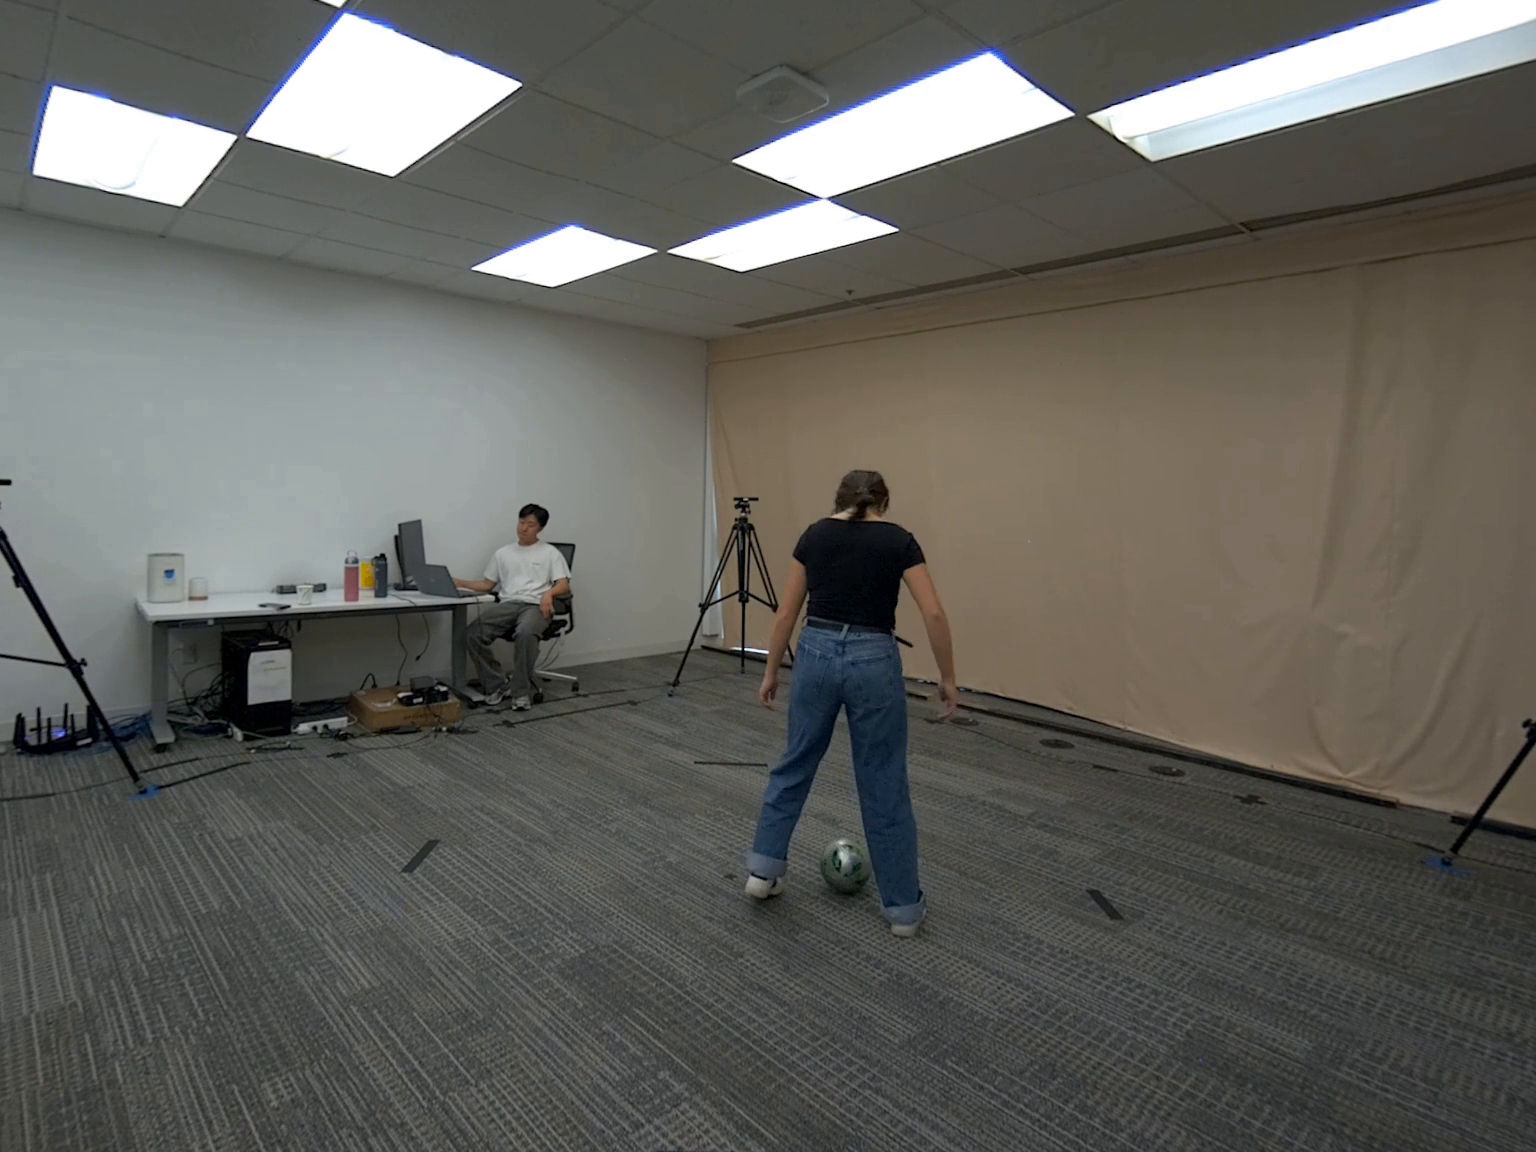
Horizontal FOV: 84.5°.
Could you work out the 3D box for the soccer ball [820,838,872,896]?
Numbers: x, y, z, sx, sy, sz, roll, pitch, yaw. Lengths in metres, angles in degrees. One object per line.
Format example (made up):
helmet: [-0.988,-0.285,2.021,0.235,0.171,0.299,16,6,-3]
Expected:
soccer ball: [0.271,1.033,2.998,0.187,0.187,0.188,1,4,-1]
